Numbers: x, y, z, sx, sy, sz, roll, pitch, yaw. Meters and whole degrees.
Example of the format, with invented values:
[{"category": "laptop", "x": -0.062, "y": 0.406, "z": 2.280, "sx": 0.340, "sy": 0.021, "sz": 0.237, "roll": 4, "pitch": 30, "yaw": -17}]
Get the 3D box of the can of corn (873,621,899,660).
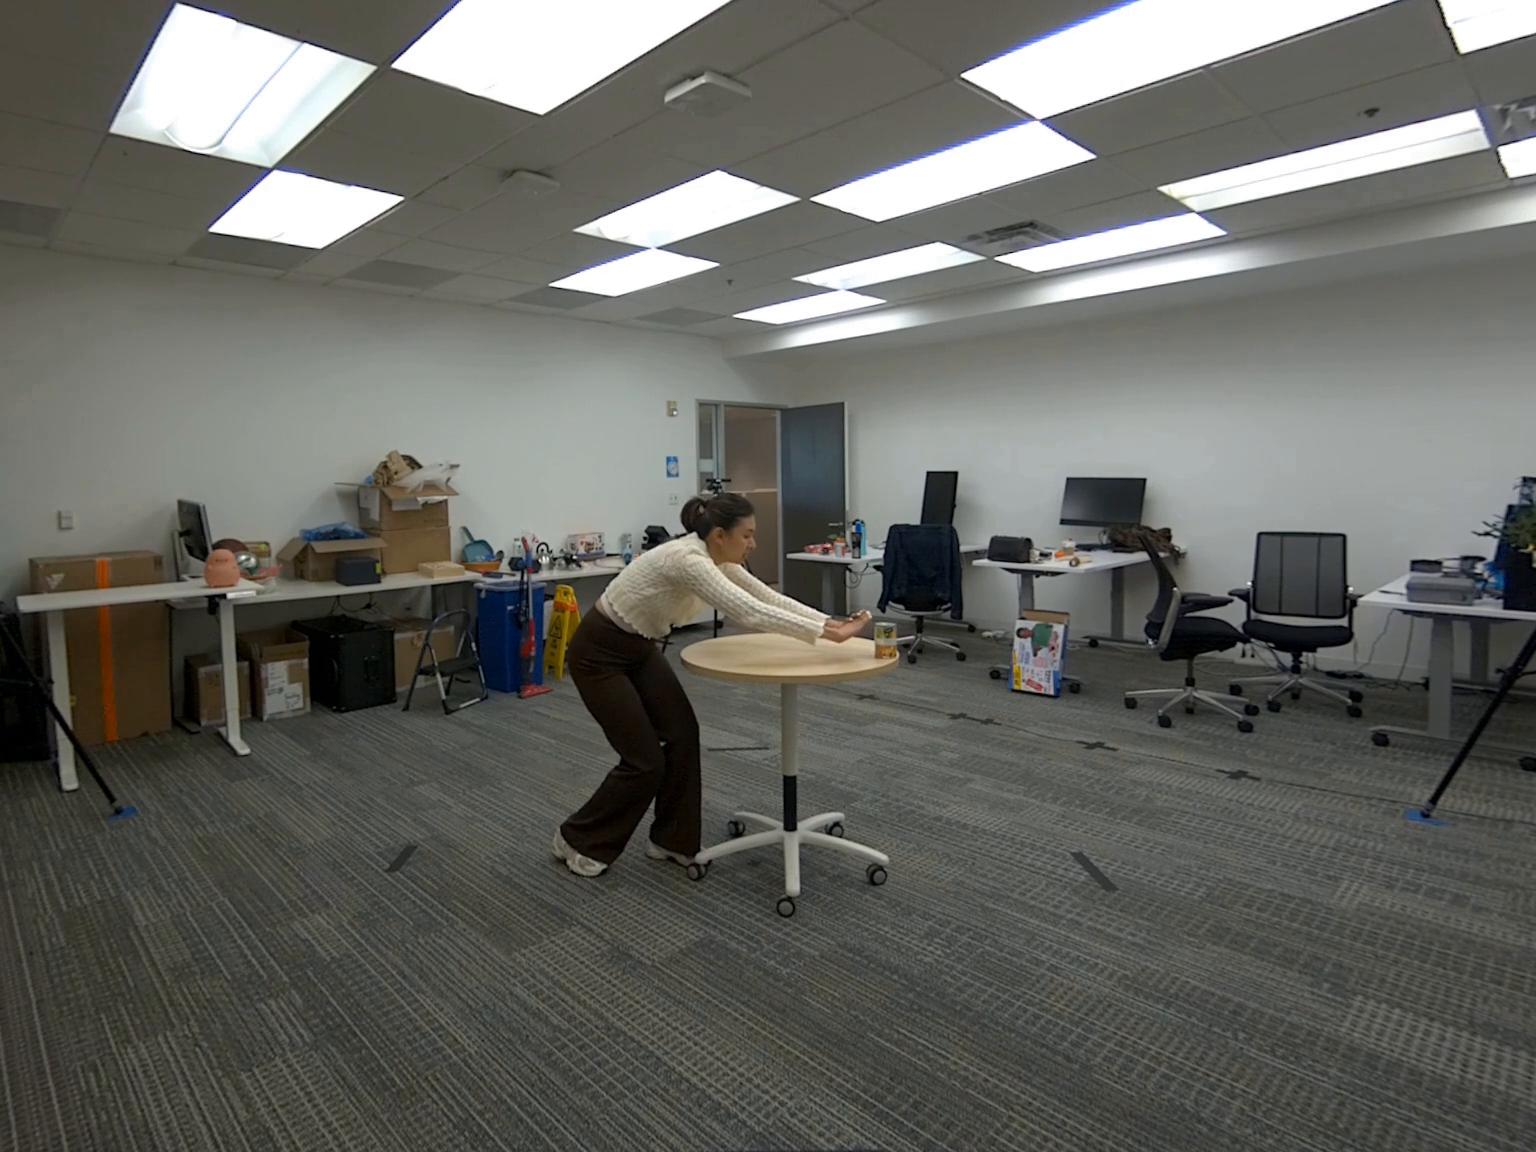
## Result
[{"category": "can of corn", "x": 0.401, "y": 0.220, "z": 2.901, "sx": 0.074, "sy": 0.110, "sz": 0.075, "roll": 0, "pitch": 7, "yaw": -2}]
